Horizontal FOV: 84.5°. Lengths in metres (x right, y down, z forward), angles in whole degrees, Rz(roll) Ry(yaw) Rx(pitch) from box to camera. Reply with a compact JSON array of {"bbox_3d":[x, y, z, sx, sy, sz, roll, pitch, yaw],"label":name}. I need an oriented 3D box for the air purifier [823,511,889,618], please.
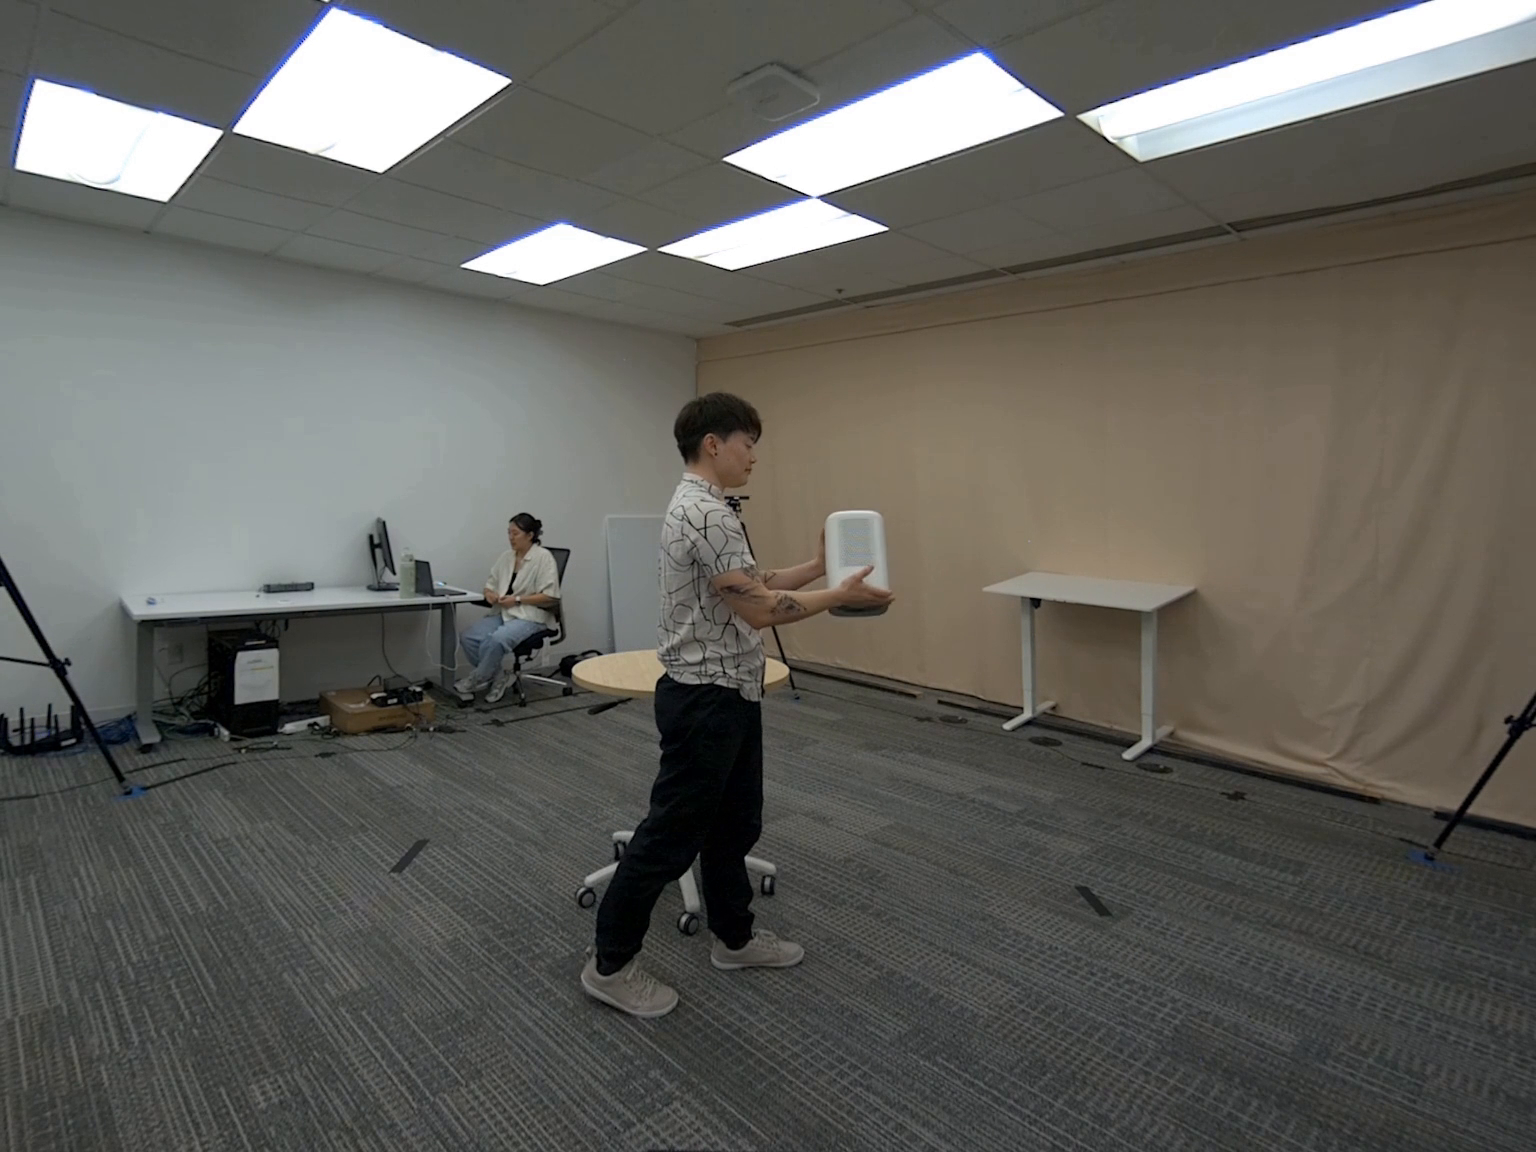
[{"bbox_3d":[0.245,-0.040,2.390,0.172,0.270,0.167,-2,-26,3],"label":"air purifier"}]
